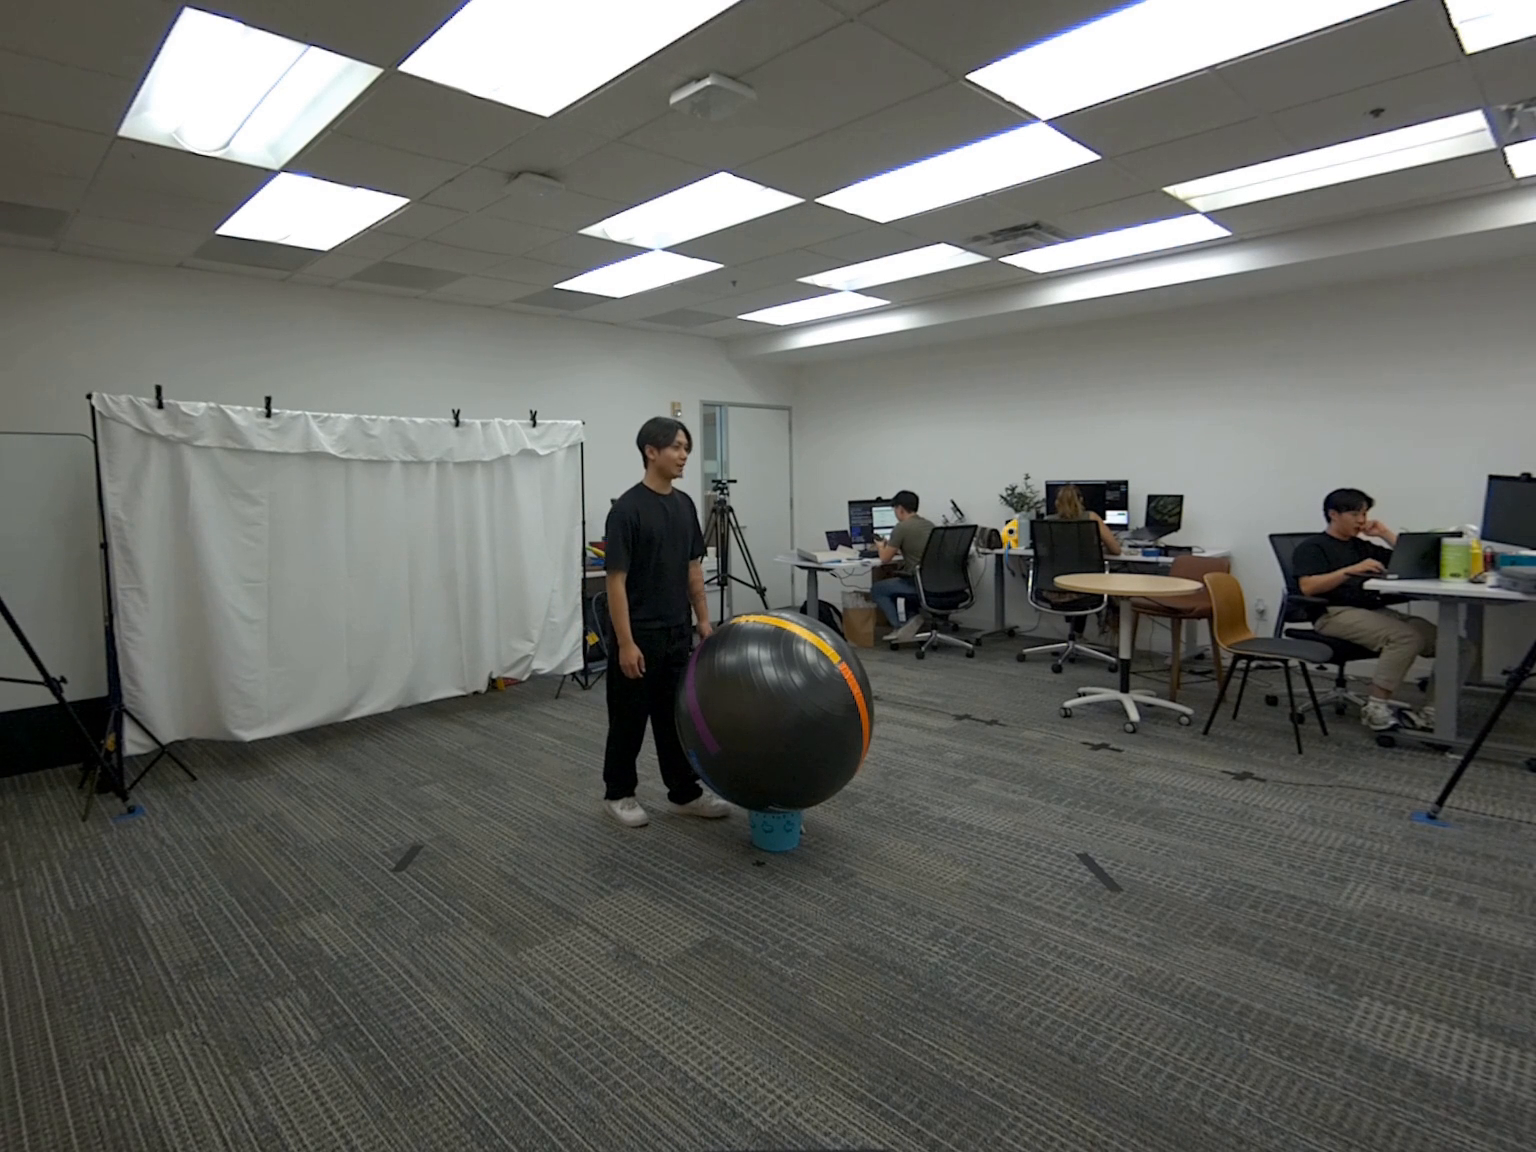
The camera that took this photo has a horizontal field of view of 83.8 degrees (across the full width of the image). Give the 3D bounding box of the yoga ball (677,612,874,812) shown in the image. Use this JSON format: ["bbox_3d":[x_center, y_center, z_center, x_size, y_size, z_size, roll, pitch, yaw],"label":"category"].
[{"bbox_3d":[0.027,0.514,3.279,0.757,0.755,0.762,-1,5,-2],"label":"yoga ball"}]
